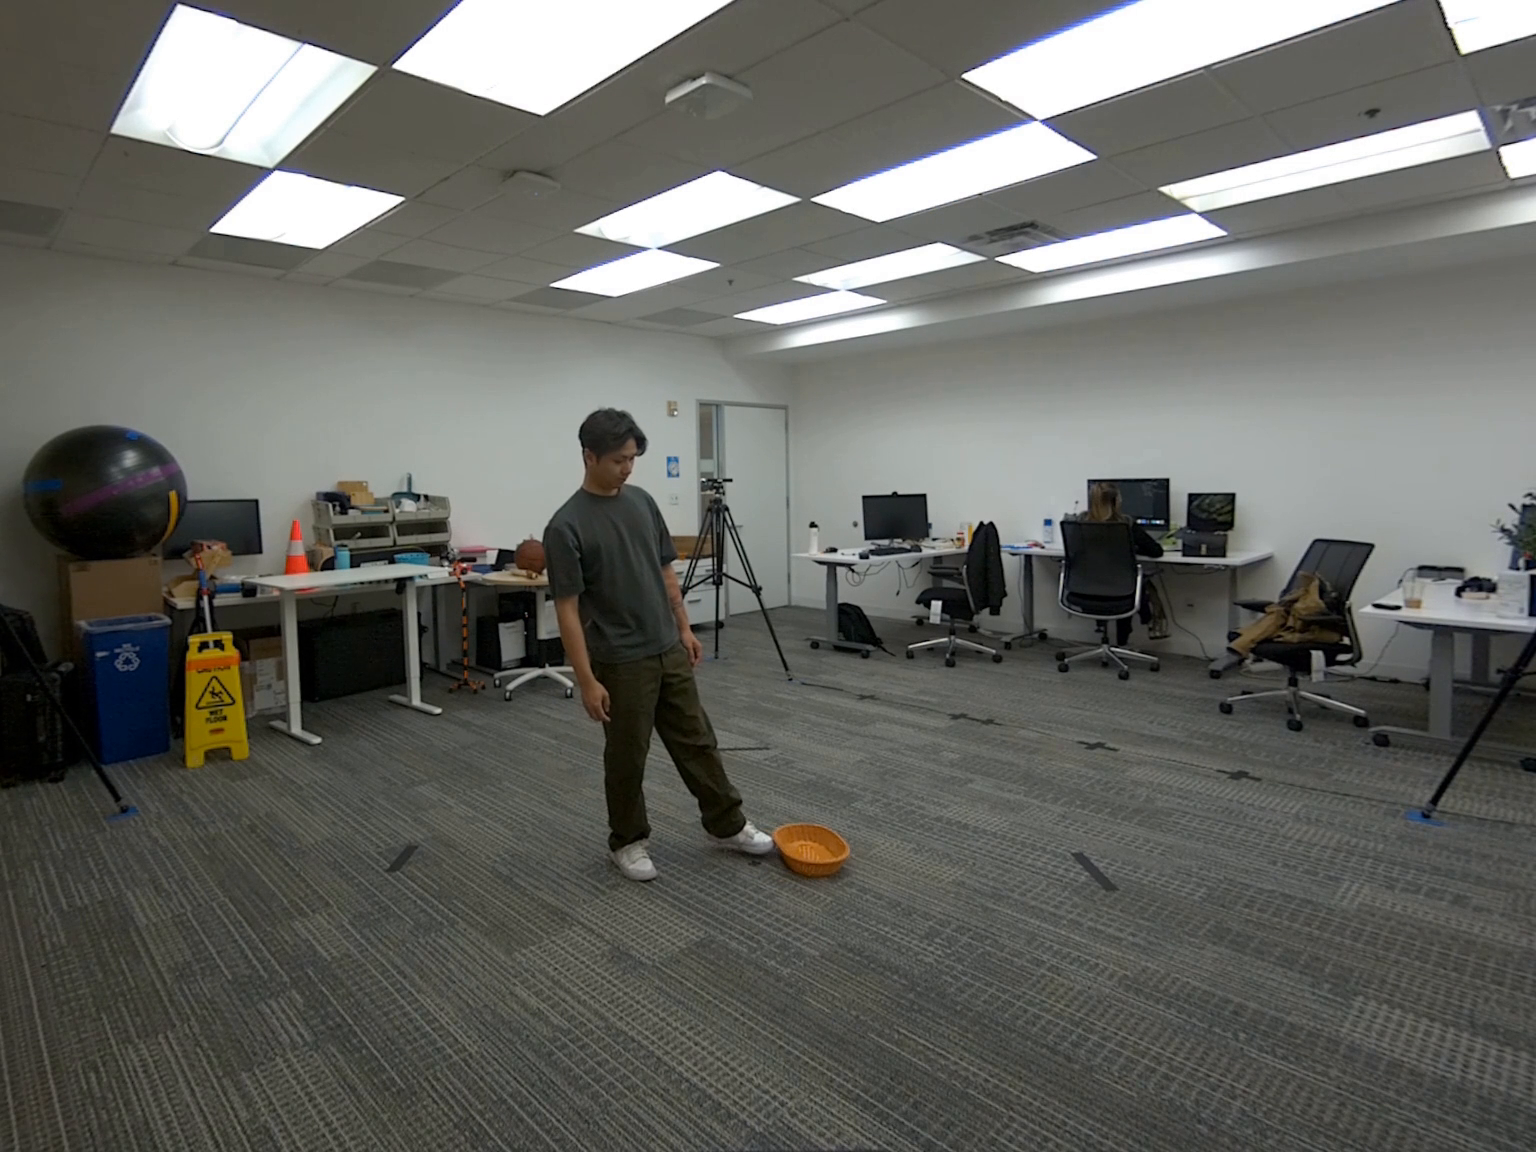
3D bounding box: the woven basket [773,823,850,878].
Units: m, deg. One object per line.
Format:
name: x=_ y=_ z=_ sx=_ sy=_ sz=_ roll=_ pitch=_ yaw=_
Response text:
woven basket: x=0.155 y=0.994 z=3.120 sx=0.248 sy=0.073 sz=0.357 roll=-2 pitch=6 yaw=-18
